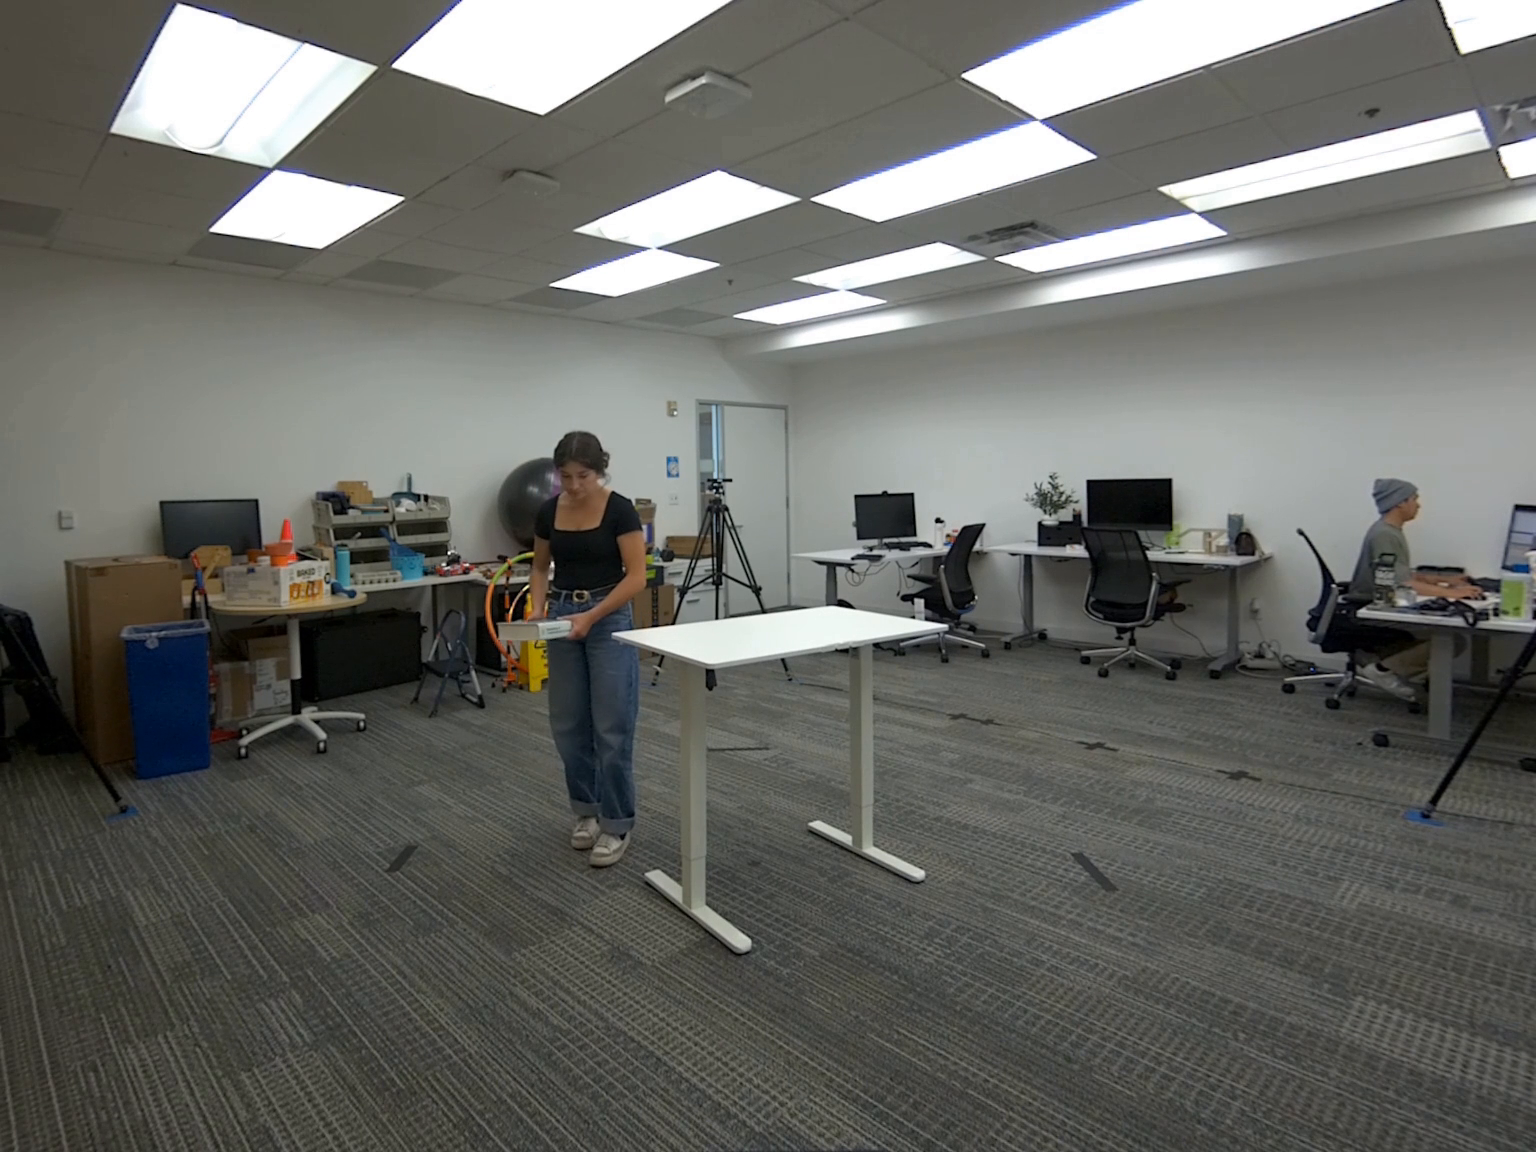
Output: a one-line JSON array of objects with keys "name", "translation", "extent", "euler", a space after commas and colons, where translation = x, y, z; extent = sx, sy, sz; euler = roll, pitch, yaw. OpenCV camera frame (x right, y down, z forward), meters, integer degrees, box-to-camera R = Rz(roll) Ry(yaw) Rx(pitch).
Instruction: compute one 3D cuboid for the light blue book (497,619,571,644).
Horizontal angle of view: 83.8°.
[{"name": "light blue book", "translation": [-0.819, 0.194, 3.065], "extent": [0.195, 0.059, 0.255], "euler": [0, 1, 22]}]
